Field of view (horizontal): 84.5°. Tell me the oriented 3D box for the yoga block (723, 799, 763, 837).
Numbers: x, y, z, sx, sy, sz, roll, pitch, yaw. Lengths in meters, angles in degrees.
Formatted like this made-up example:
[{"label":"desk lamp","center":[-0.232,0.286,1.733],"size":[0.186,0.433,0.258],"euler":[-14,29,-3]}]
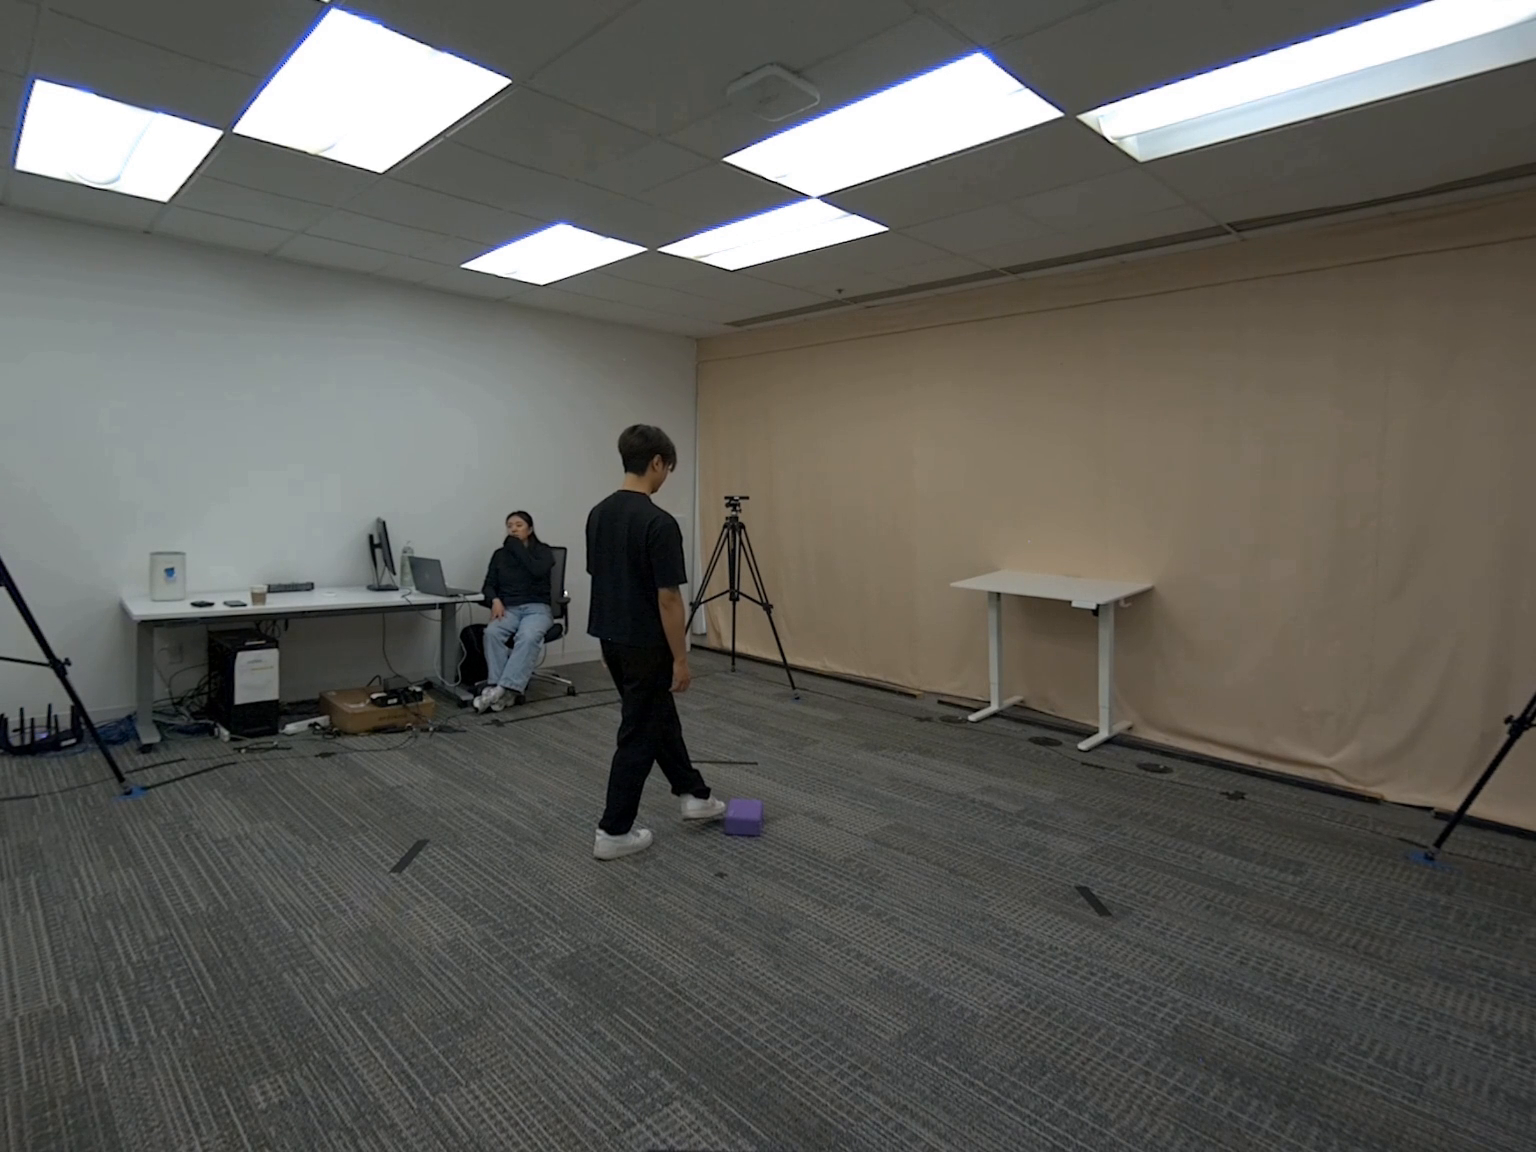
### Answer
[{"label":"yoga block","center":[-0.113,1.021,3.581],"size":[0.149,0.076,0.229],"euler":[2,7,4]}]
